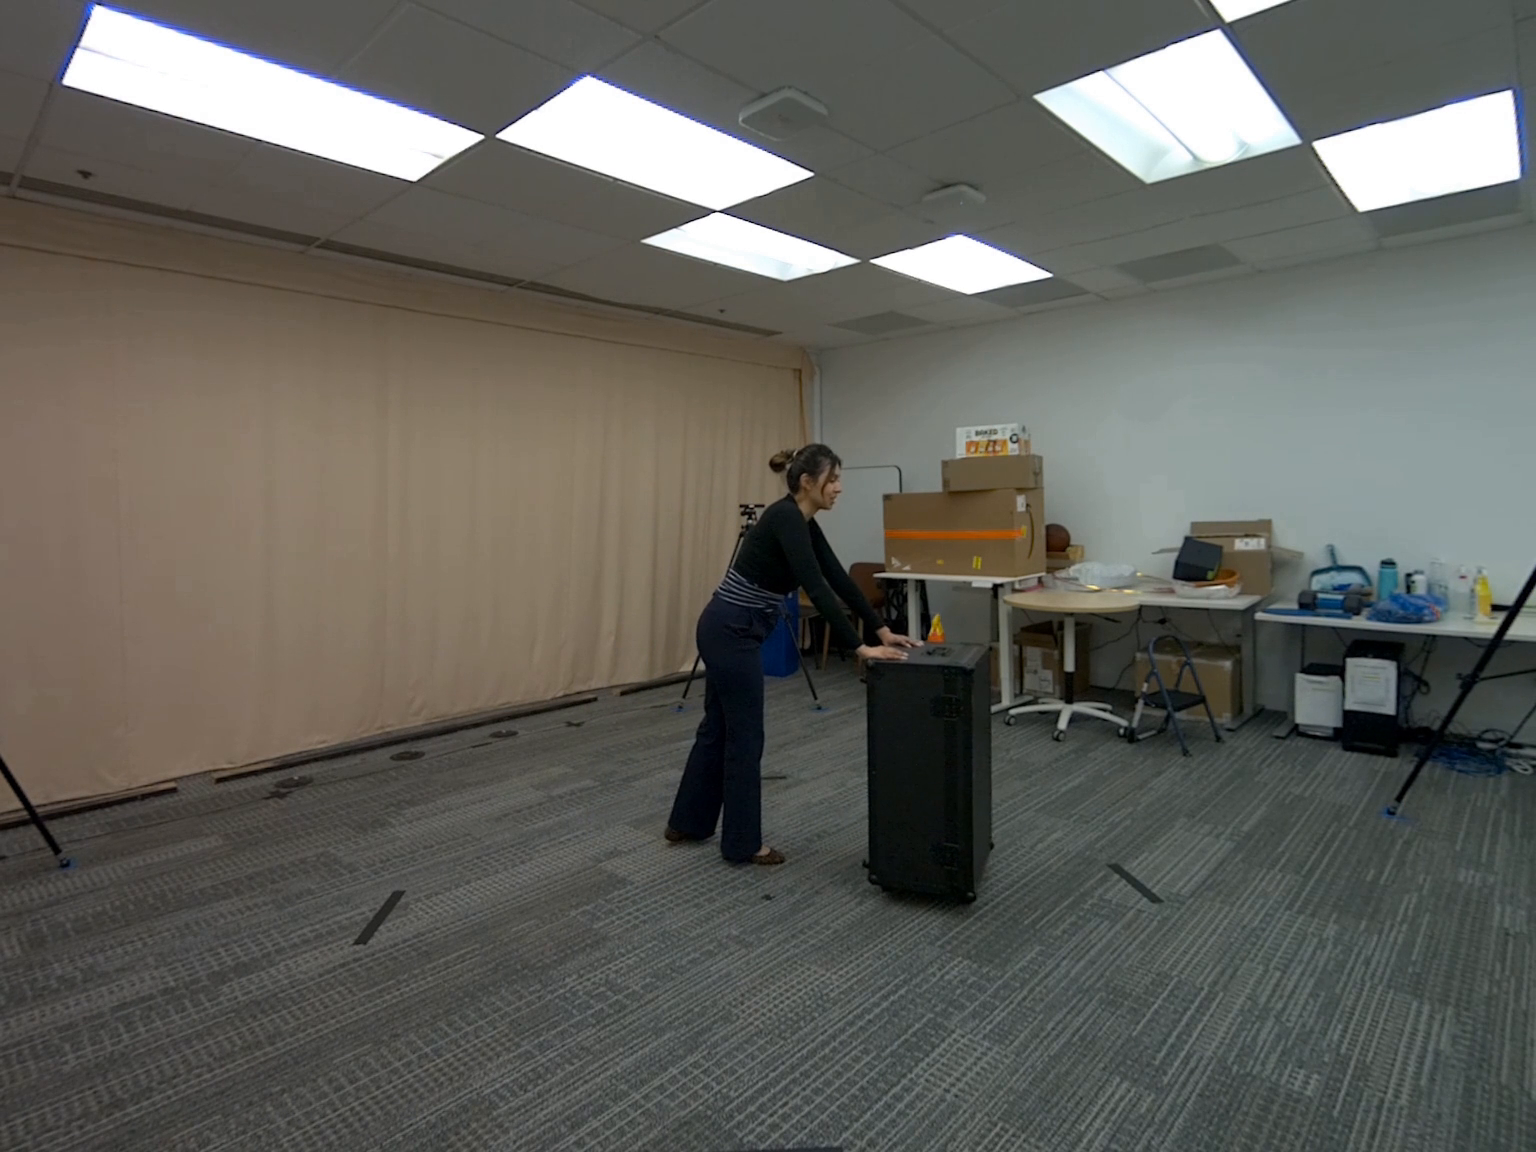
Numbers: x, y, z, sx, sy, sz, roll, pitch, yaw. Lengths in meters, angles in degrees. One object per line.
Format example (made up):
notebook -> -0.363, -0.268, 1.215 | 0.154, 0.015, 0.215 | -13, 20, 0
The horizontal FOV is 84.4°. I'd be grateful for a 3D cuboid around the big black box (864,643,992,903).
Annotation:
big black box -> 0.588, 0.699, 3.040 | 0.406, 0.860, 0.510 | -1, 3, 23
